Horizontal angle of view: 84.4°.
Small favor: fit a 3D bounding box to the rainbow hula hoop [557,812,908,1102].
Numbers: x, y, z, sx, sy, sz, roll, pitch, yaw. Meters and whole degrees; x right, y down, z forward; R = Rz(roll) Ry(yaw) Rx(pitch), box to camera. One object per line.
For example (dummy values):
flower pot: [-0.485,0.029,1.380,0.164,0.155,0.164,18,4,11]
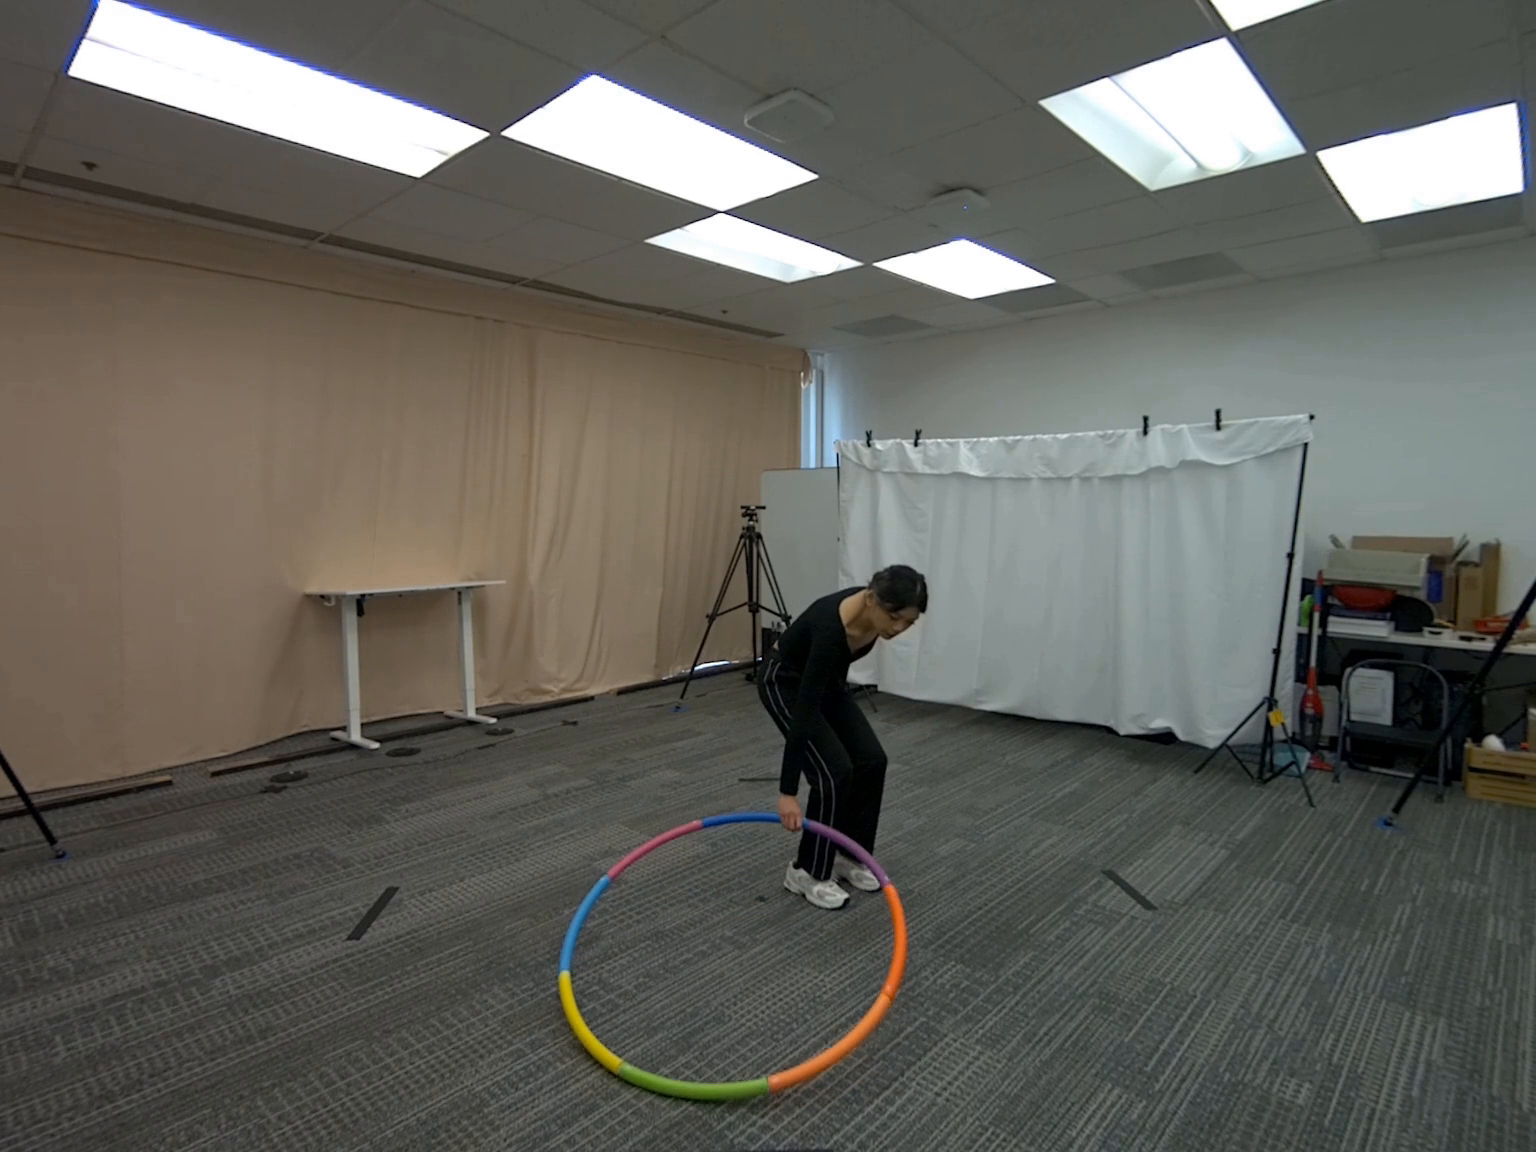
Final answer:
rainbow hula hoop: [-0.106,1.009,2.401,0.981,0.035,0.992,-9,23,2]
